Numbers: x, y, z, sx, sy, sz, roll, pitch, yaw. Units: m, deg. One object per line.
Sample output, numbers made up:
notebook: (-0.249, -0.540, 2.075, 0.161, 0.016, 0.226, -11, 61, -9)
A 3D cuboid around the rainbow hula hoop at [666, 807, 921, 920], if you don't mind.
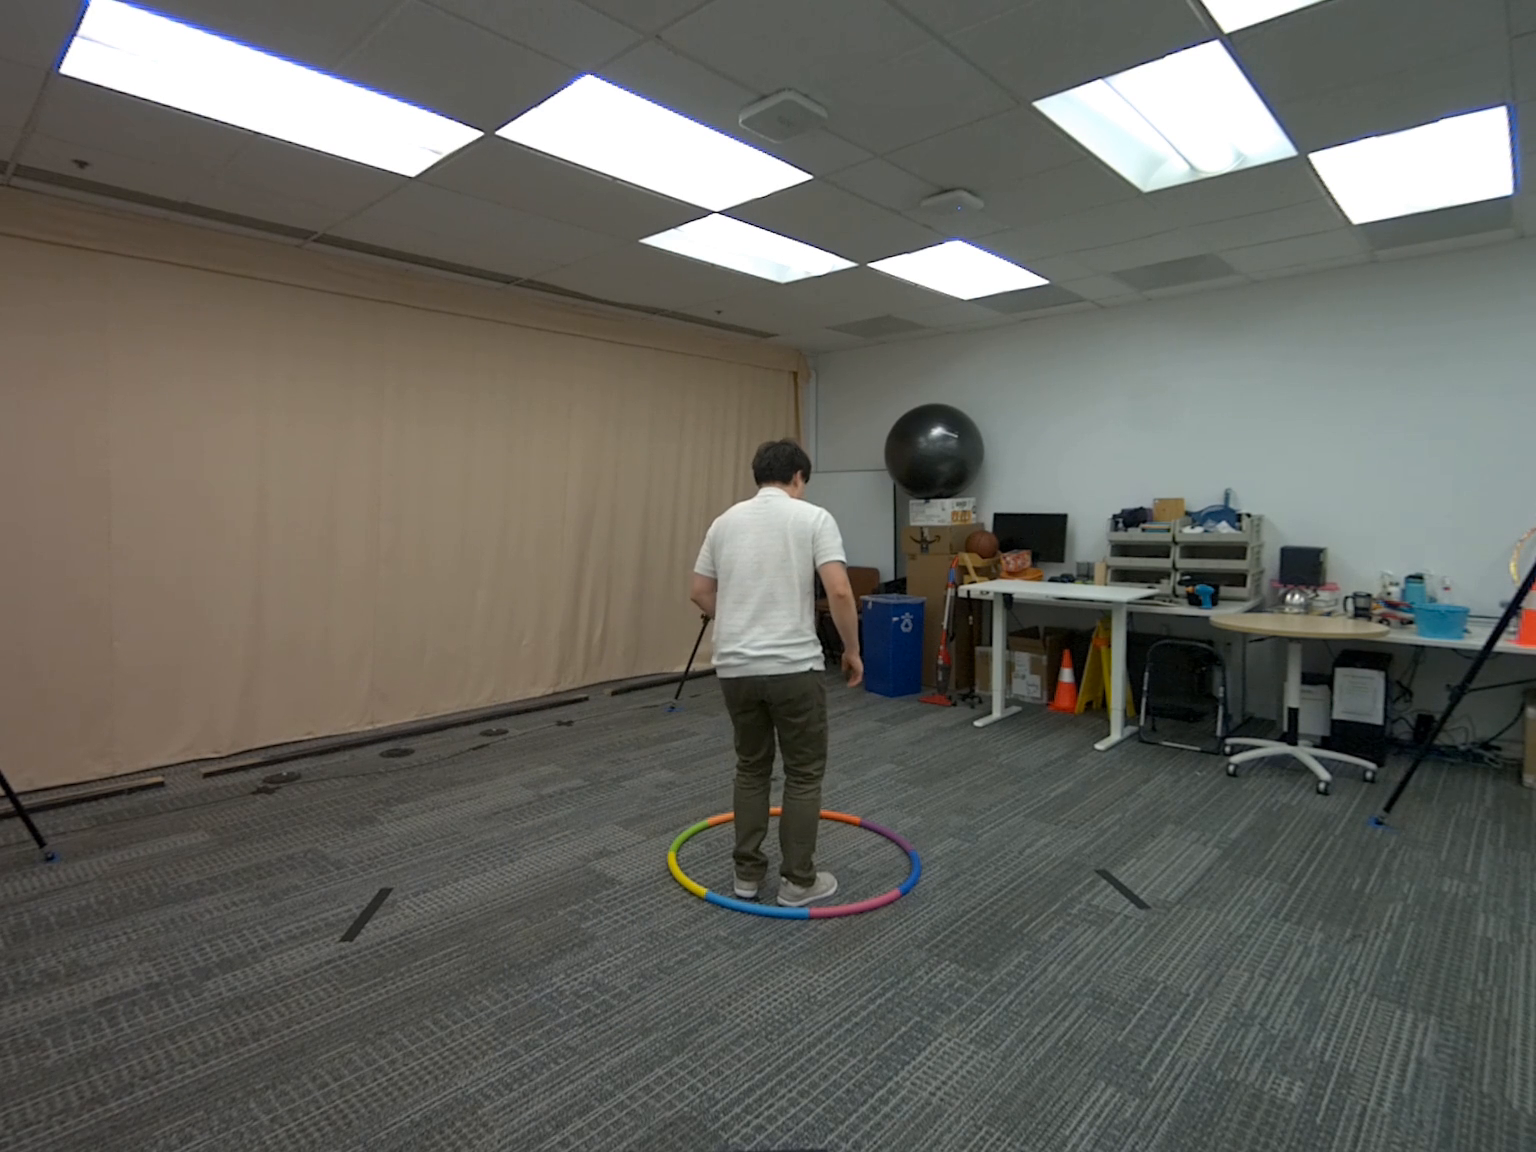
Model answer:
rainbow hula hoop: (0.098, 1.086, 3.312, 0.978, 0.035, 0.982, 0, 5, -2)
